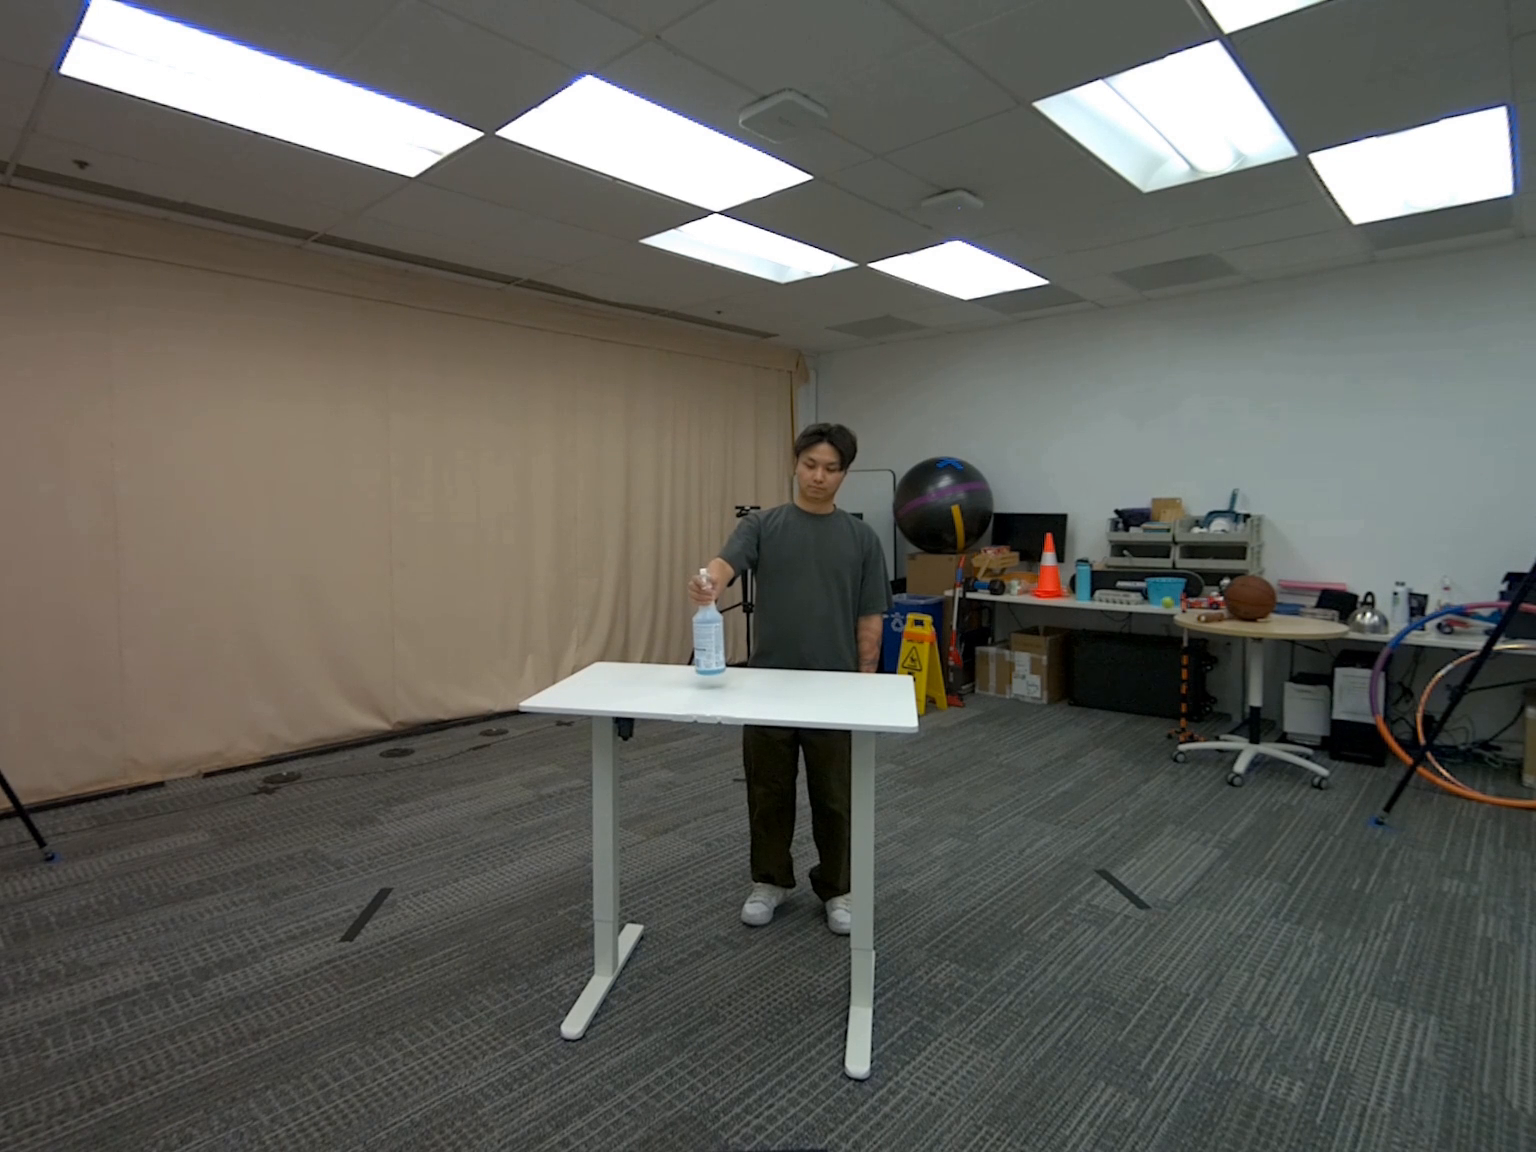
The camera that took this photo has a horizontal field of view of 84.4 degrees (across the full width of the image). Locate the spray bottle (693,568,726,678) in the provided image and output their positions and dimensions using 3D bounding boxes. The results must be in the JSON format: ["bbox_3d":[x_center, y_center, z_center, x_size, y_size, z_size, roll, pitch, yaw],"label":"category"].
[{"bbox_3d":[-0.170,0.126,2.357,0.089,0.296,0.087,1,4,33],"label":"spray bottle"}]
